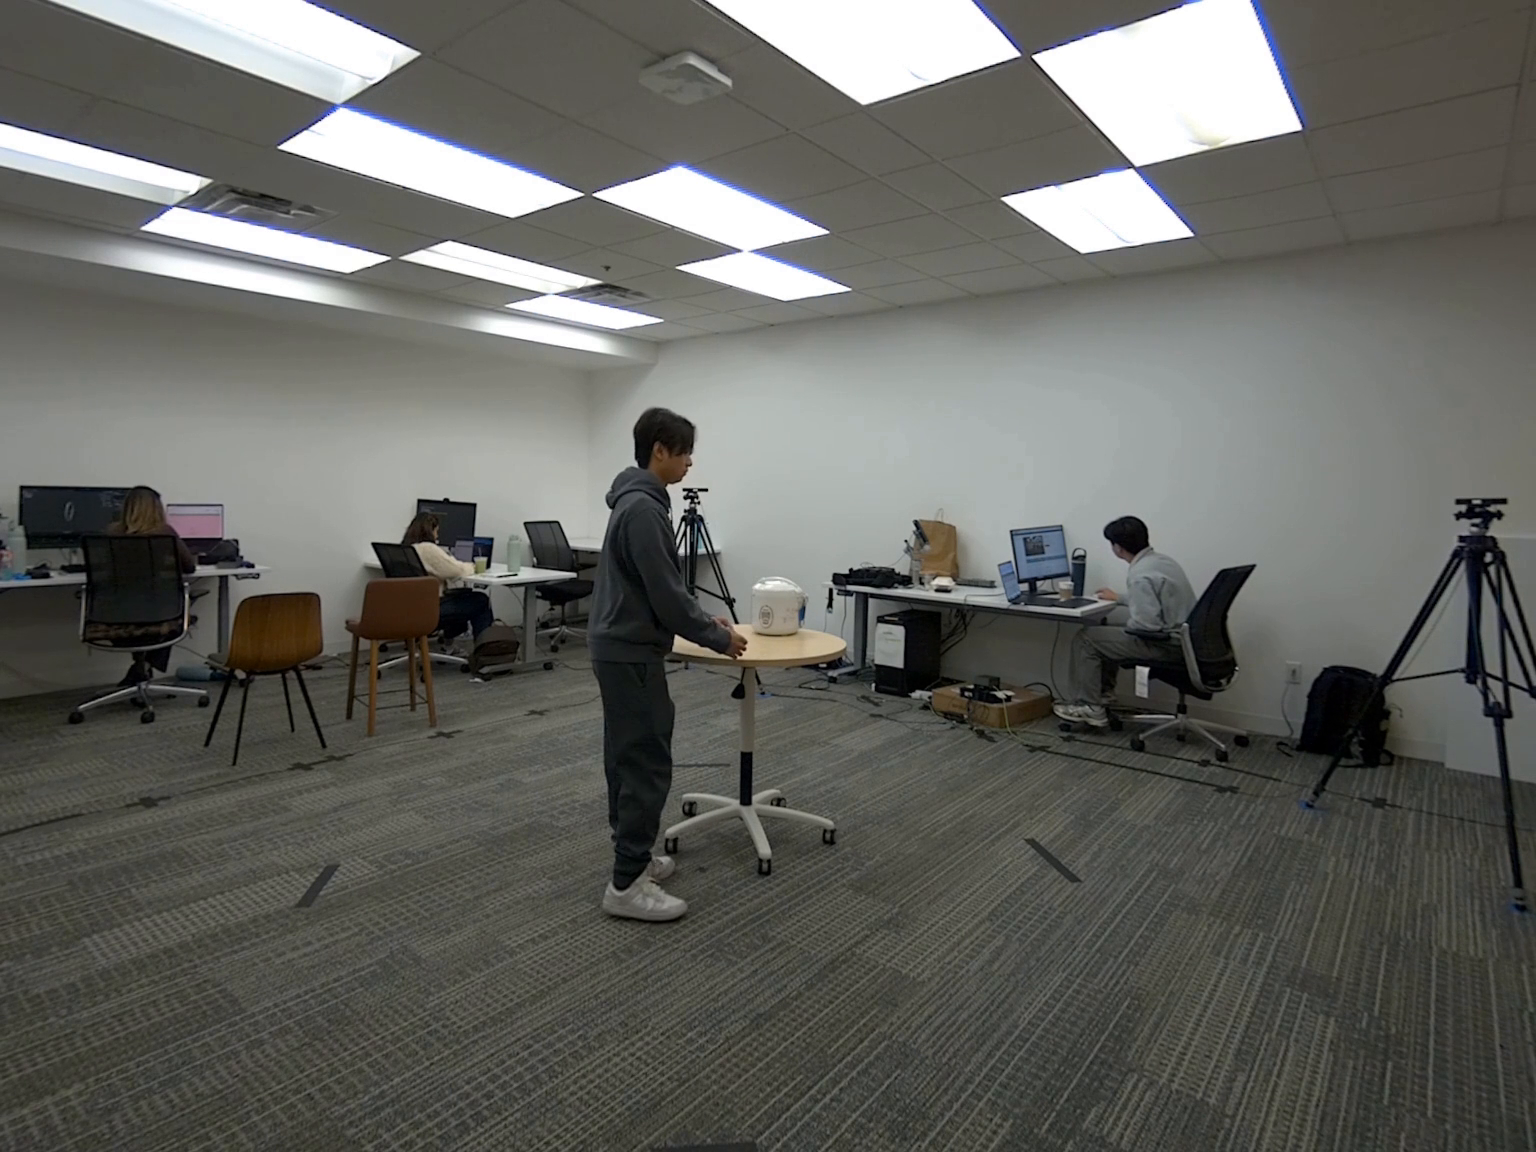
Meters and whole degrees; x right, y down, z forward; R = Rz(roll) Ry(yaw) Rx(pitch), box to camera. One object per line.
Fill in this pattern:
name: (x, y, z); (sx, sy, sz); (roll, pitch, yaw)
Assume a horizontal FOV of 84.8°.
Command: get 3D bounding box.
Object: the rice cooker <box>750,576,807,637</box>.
rice cooker: (0.027, 0.117, 3.537); (0.226, 0.232, 0.213); (3, 4, 24)
